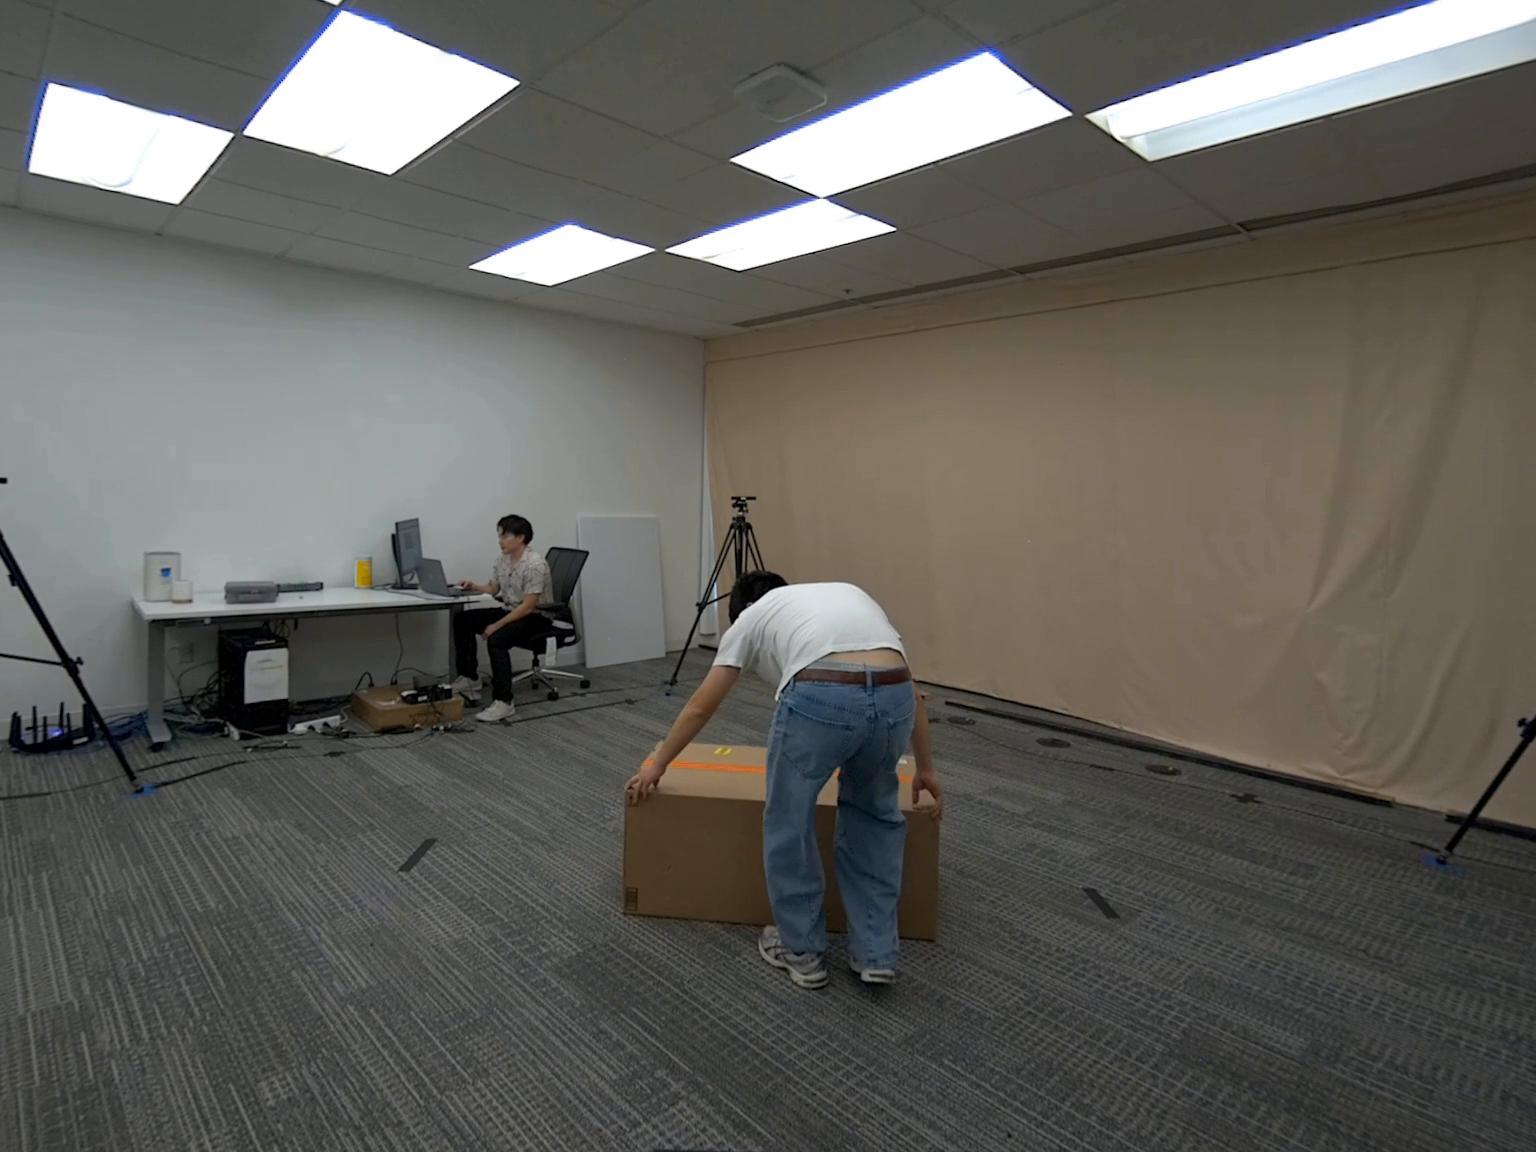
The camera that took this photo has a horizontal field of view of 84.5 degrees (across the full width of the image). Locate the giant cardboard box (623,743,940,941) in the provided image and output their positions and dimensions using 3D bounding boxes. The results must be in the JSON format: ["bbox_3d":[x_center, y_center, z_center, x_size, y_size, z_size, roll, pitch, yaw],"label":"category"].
[{"bbox_3d":[0.045,0.904,2.999,1.031,0.425,0.576,2,4,6],"label":"giant cardboard box"}]
